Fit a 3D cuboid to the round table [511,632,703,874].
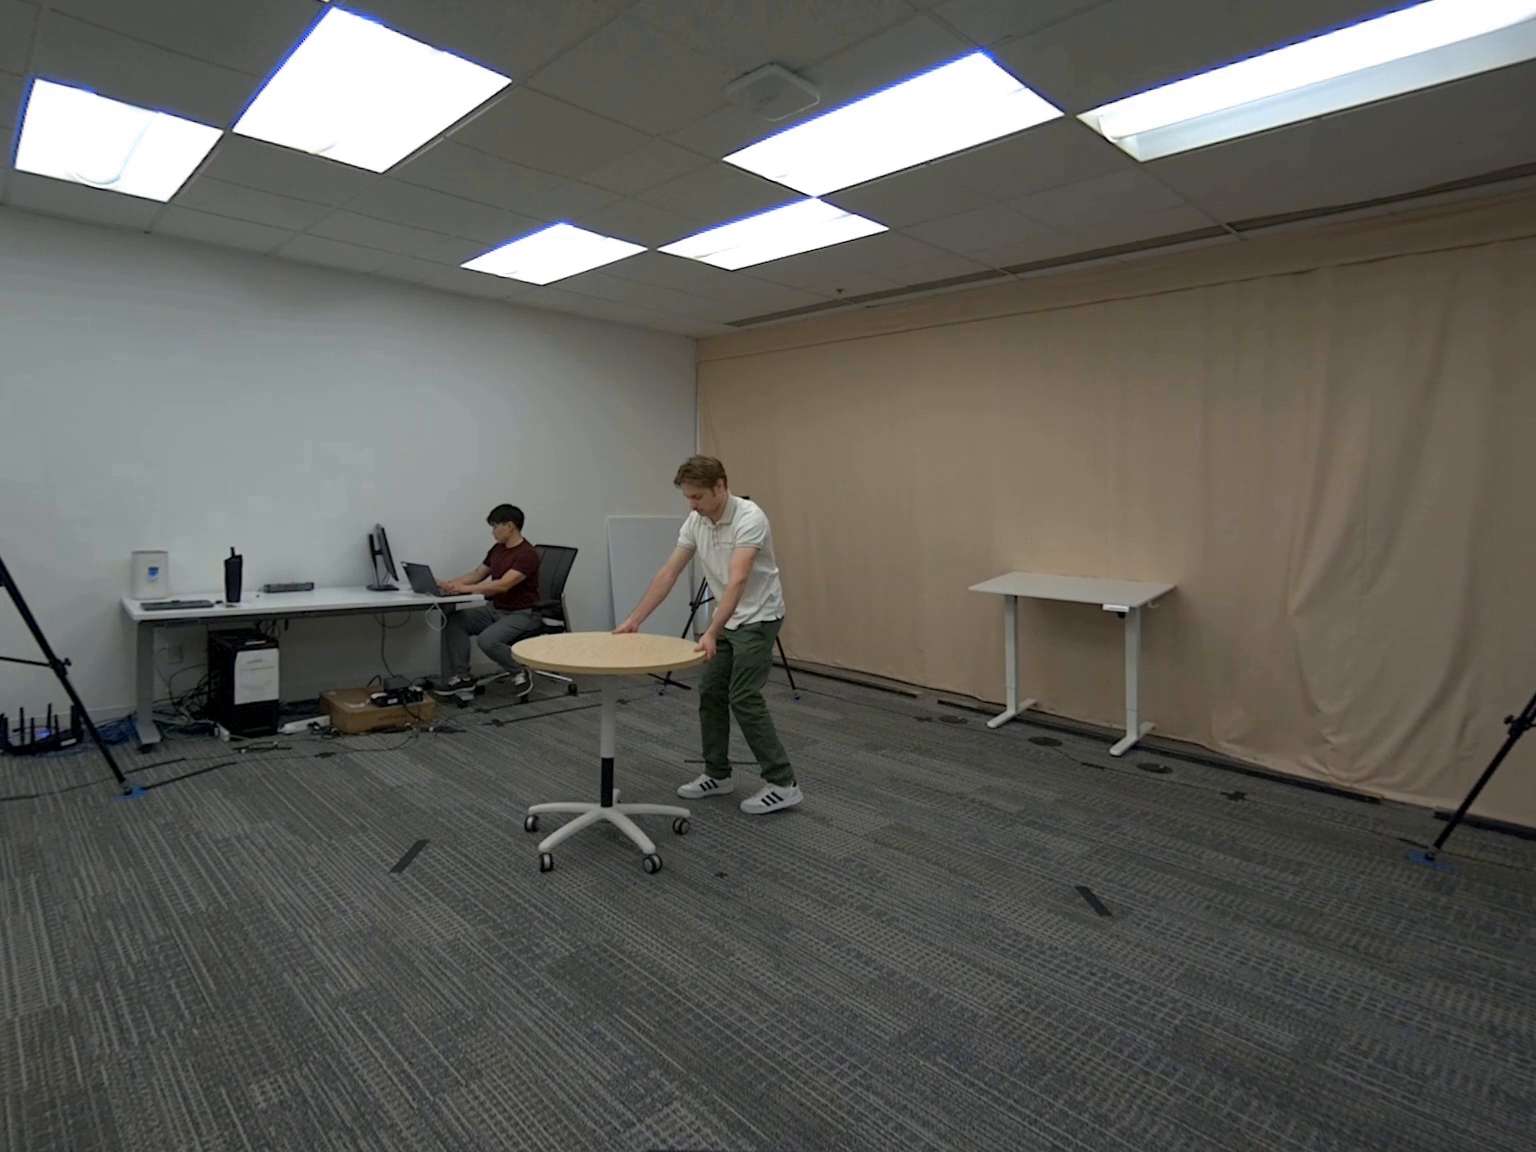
[{"bbox_3d":[-0.642,0.675,3.384,0.784,0.784,0.788,2,4,-1],"label":"round table"}]
